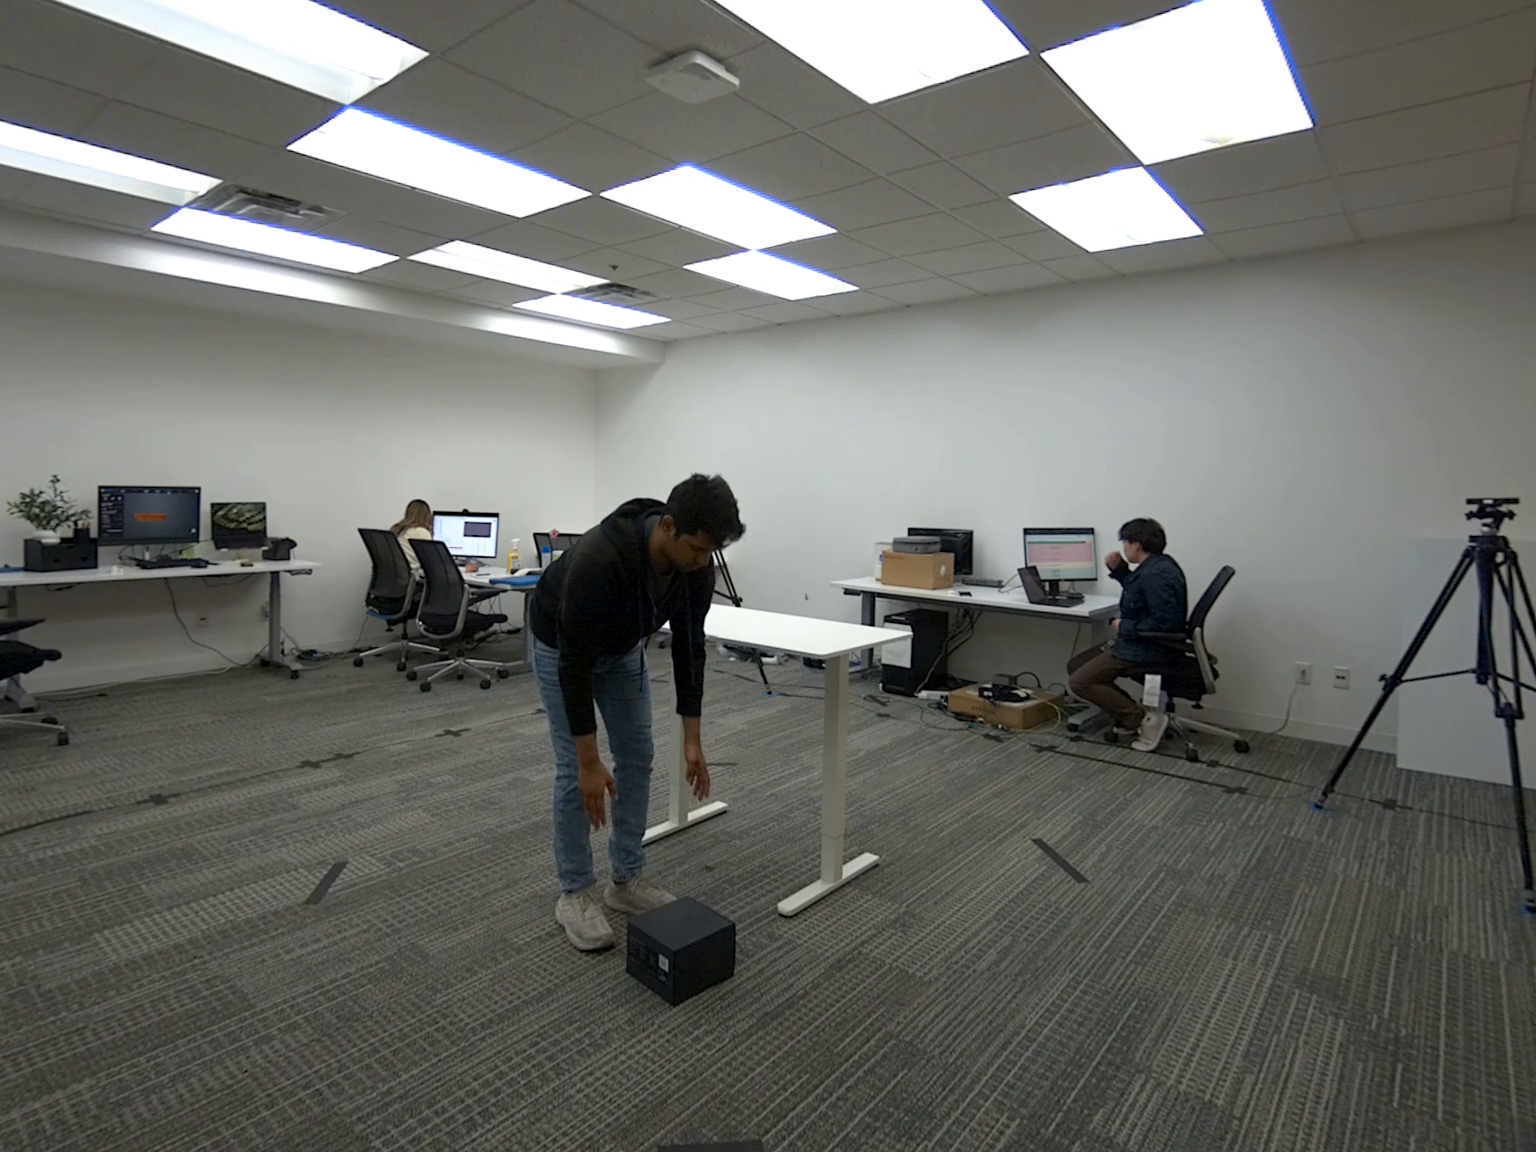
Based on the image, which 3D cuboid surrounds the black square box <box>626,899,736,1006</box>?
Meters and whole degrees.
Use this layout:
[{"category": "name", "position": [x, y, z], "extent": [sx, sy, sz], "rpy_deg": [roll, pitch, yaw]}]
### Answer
[{"category": "black square box", "position": [-0.255, 1.051, 2.419], "extent": [0.221, 0.155, 0.224], "rpy_deg": [-4, 7, -45]}]
